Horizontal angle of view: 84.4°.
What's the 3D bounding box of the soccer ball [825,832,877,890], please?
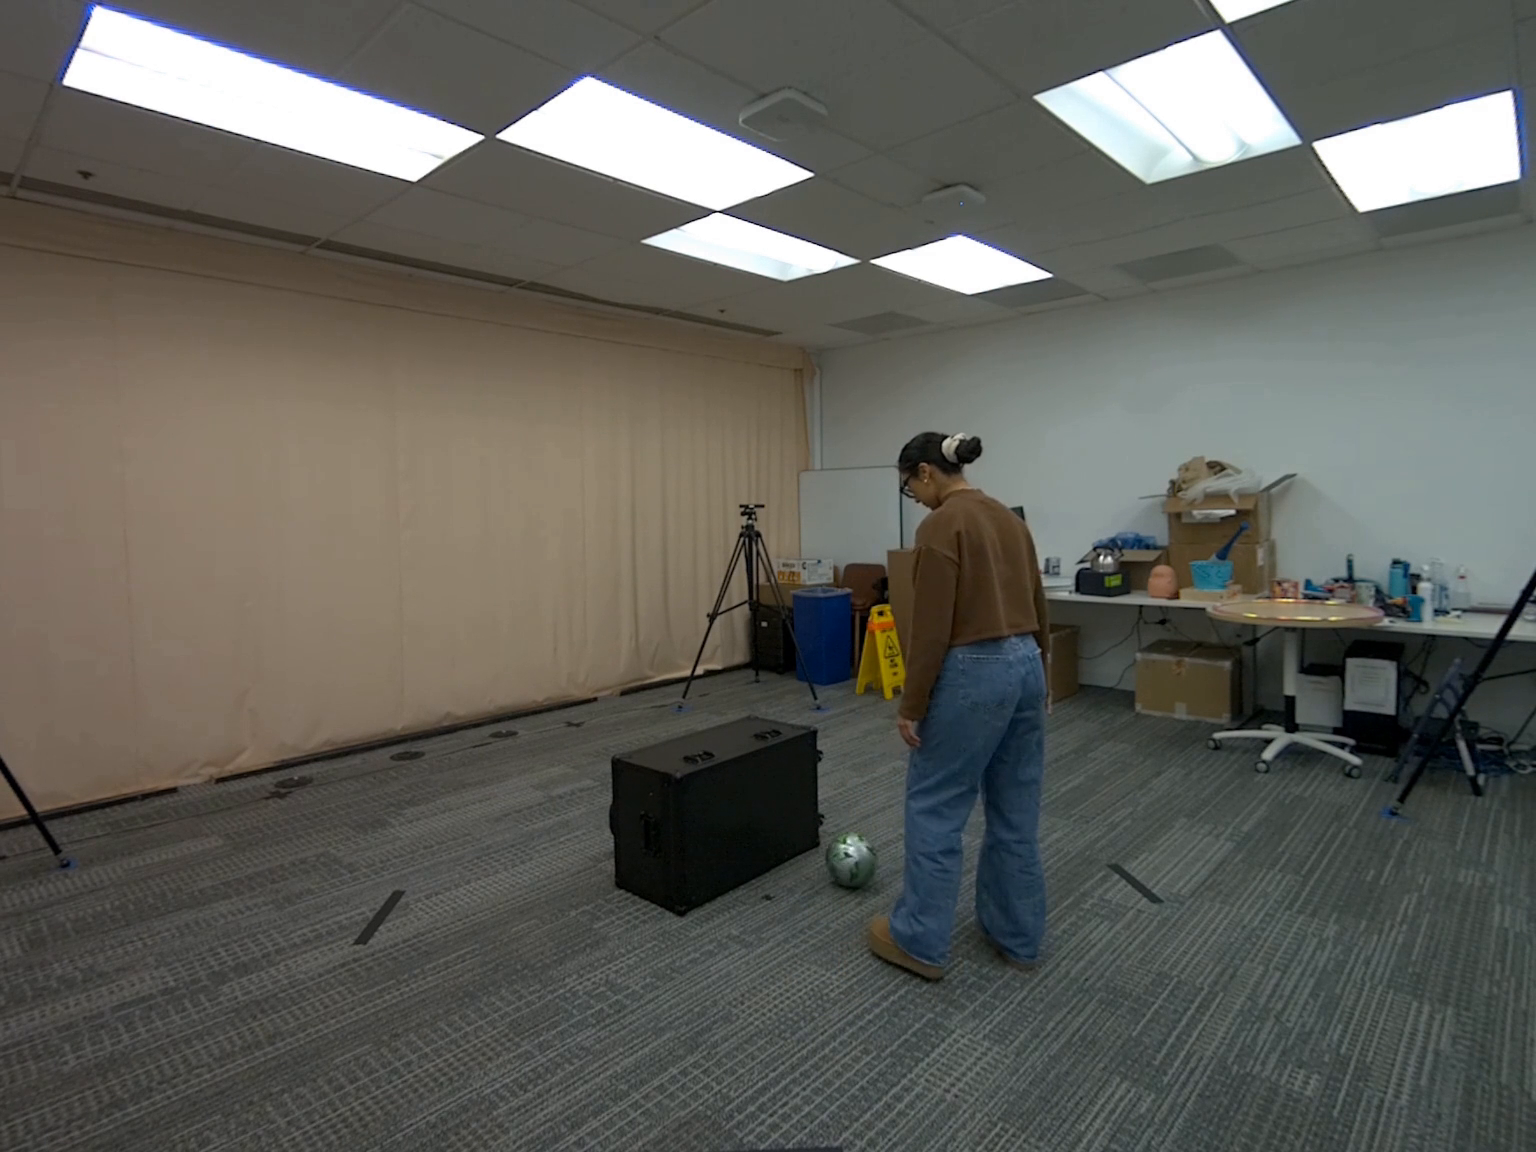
[{"bbox_3d":[0.307,1.031,3.057,0.187,0.187,0.188,-1,4,-2],"label":"soccer ball"}]
